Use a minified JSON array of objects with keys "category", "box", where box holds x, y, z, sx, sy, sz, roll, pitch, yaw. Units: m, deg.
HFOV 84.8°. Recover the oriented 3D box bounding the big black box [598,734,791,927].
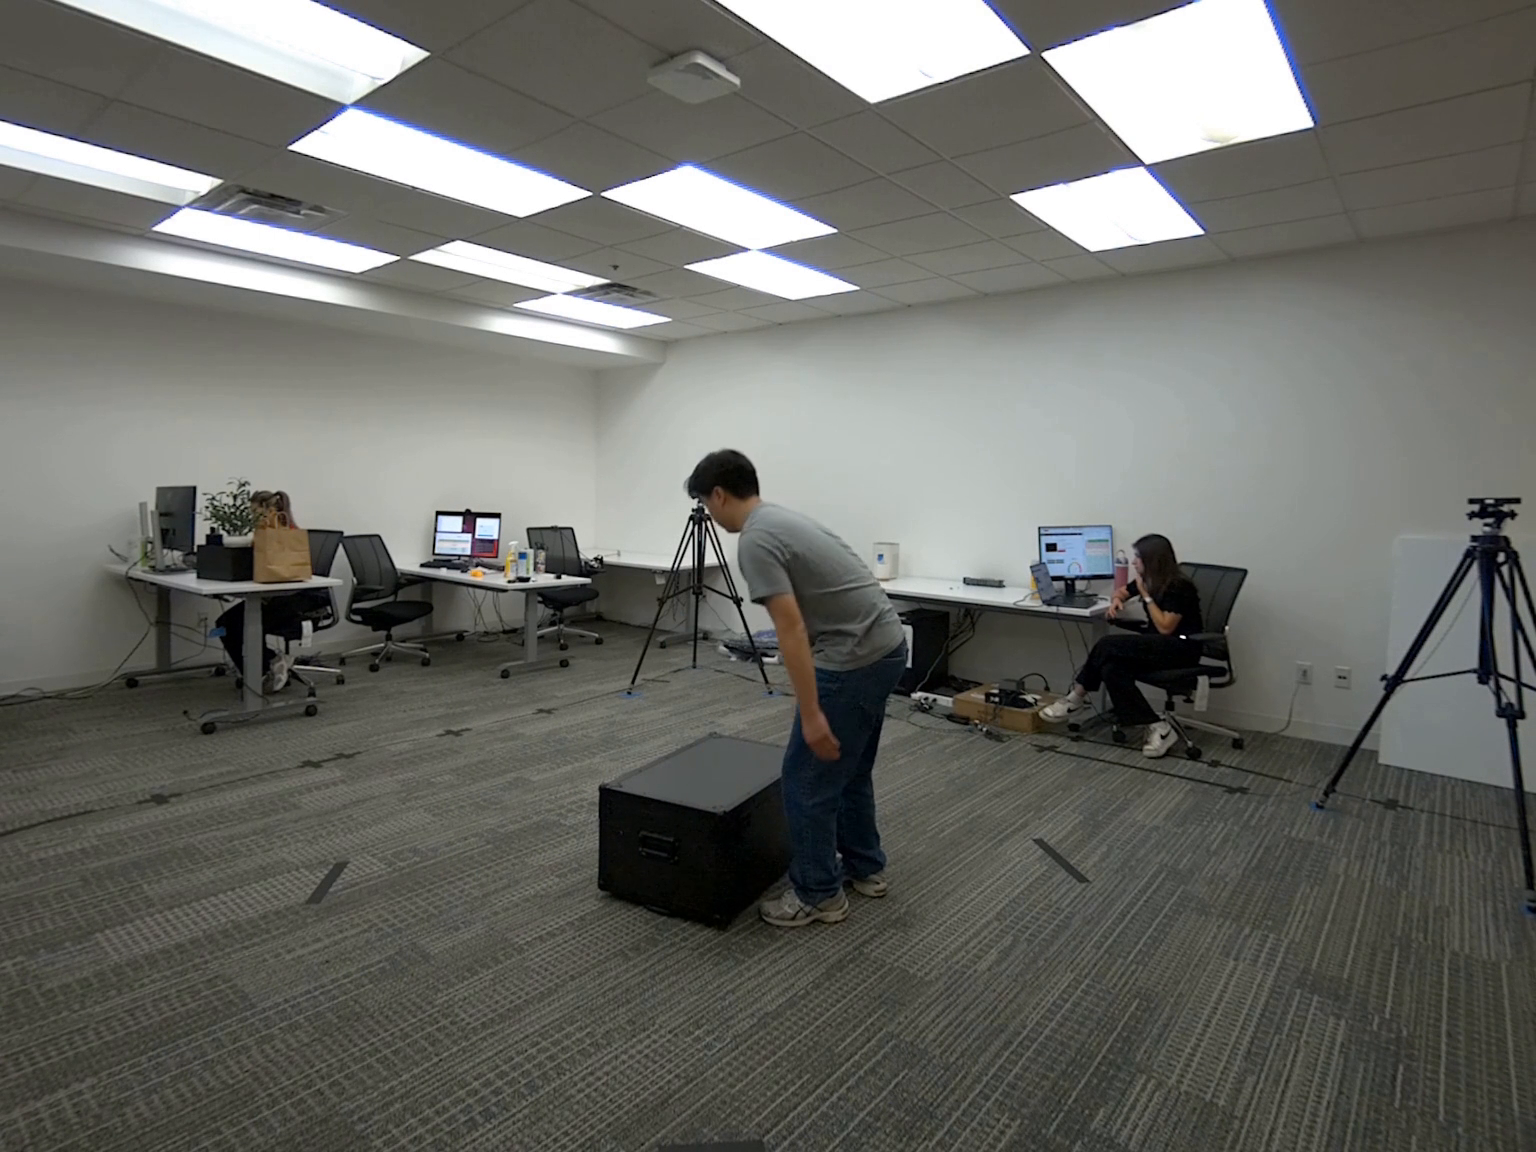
[{"category":"big black box","box":[-0.186,0.874,3.116,0.535,0.394,0.842,4,6,26]}]
